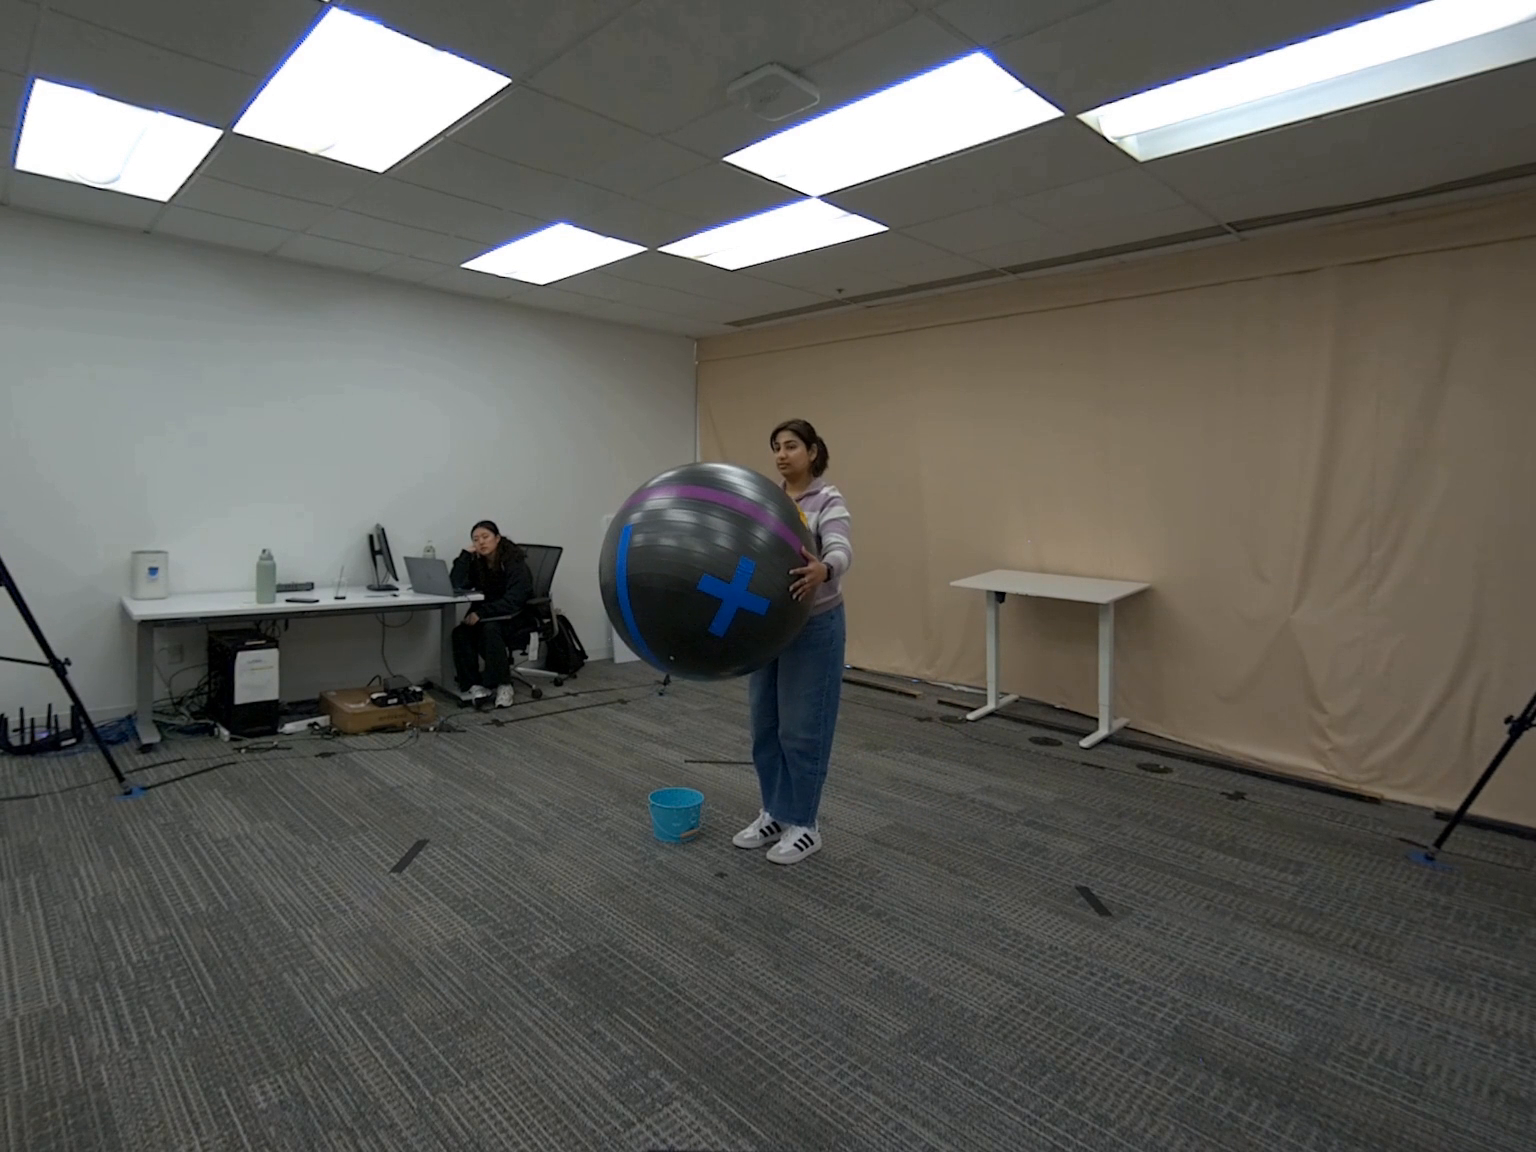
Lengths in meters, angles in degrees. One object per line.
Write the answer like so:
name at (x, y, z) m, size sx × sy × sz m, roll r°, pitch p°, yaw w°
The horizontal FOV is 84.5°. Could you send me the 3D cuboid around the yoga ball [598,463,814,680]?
yoga ball at (-0.208, -0.008, 2.904) m, size 0.757 × 0.756 × 0.761 m, roll 1°, pitch 4°, yaw -1°
